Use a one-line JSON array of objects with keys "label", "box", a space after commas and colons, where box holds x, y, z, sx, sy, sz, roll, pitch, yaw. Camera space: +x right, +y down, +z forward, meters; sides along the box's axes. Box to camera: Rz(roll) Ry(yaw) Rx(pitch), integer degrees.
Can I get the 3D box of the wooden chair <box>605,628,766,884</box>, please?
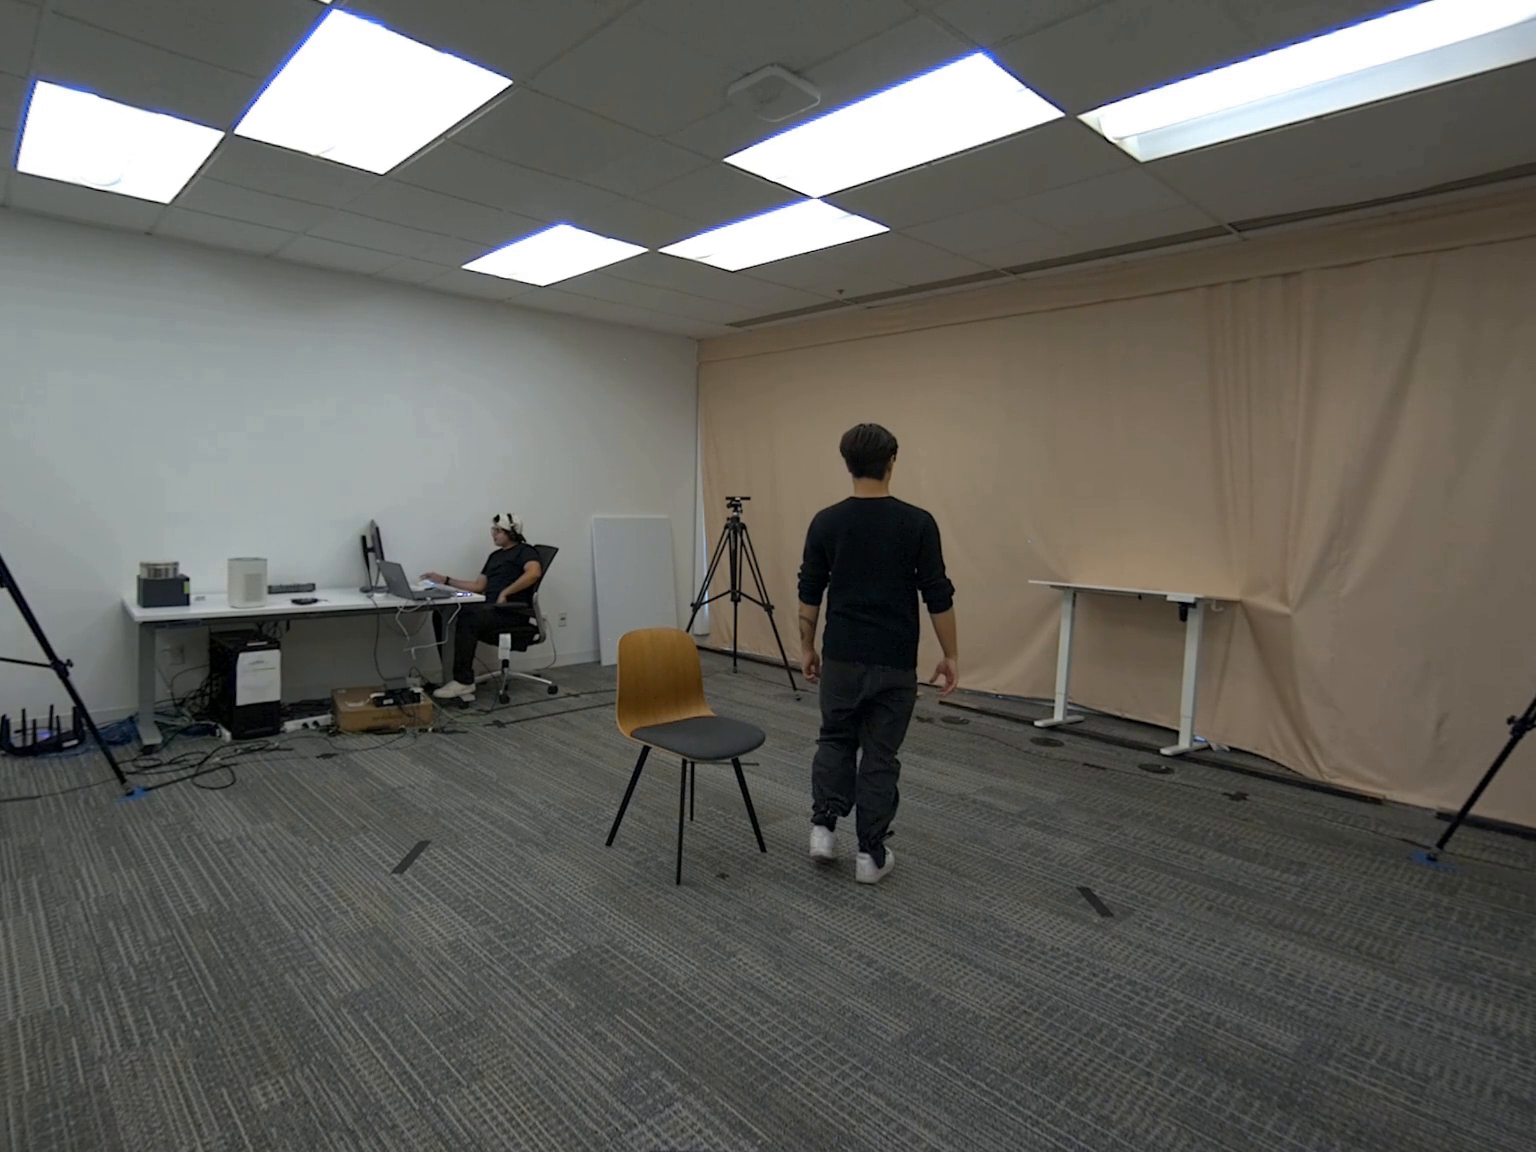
[{"label": "wooden chair", "box": [-0.306, 0.656, 3.296, 0.467, 0.877, 0.535, -1, 0, -44]}]
